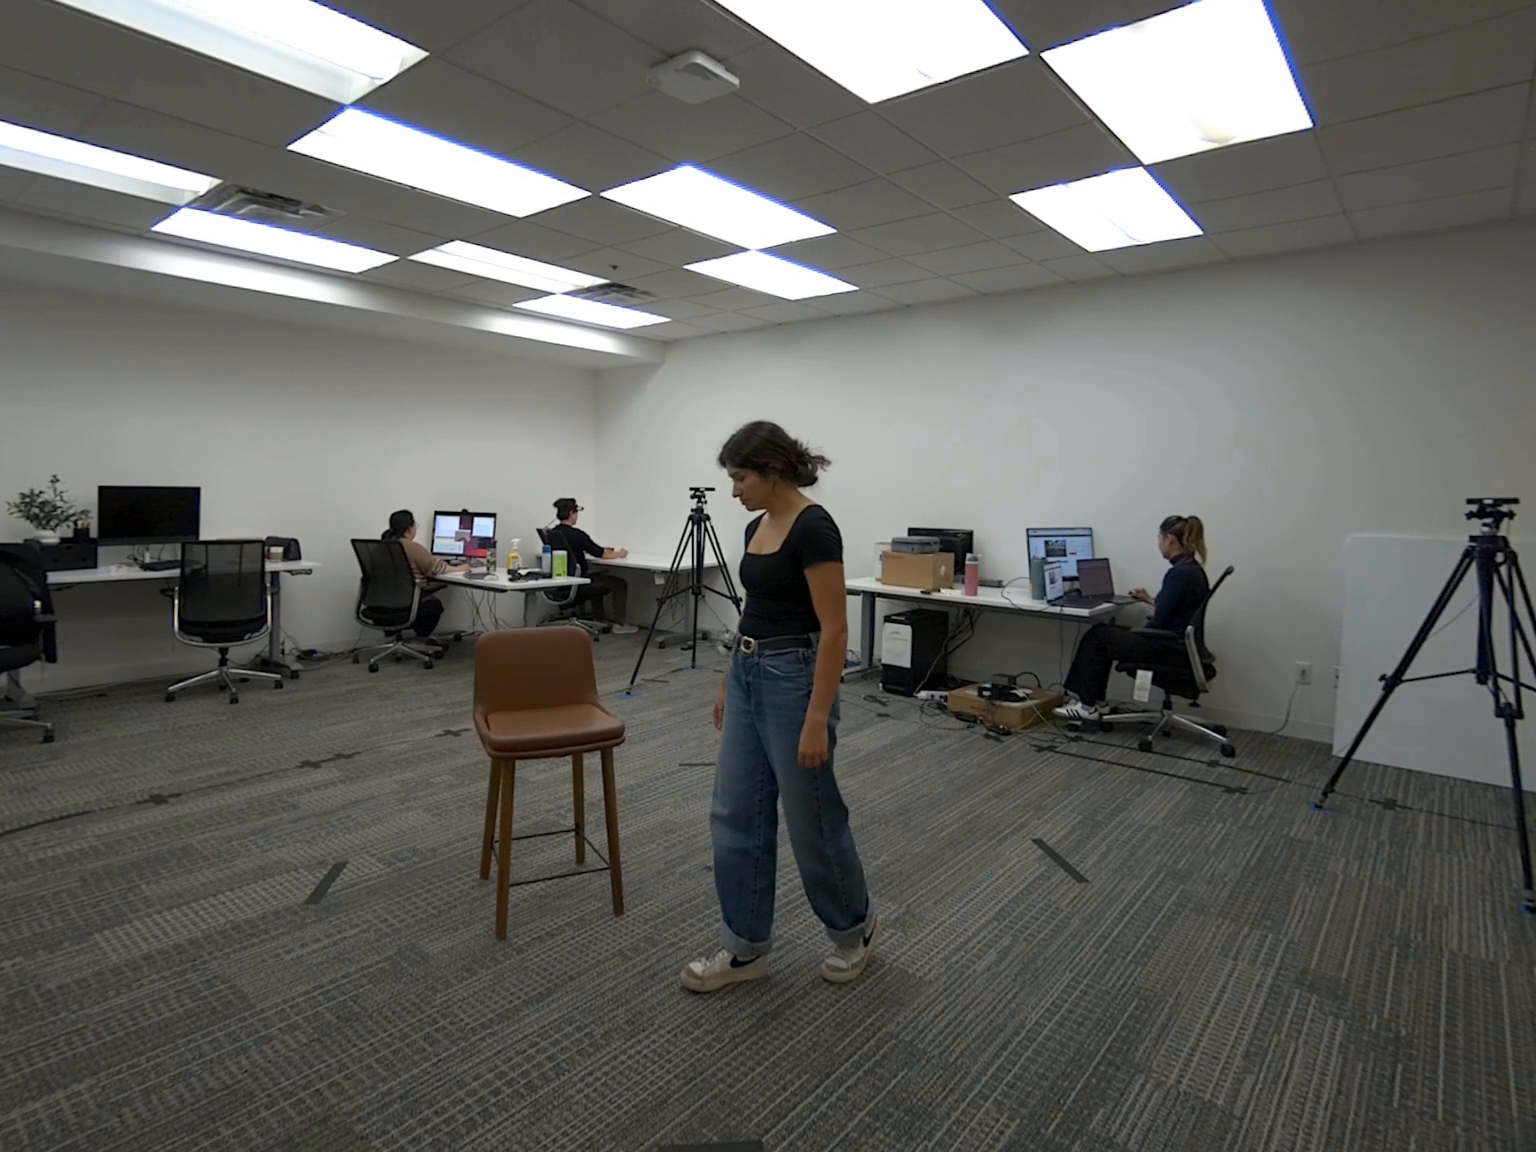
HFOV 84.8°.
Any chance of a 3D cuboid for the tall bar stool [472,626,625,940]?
[{"bbox_3d":[-0.759,0.647,2.866,0.445,0.888,0.480,-1,2,-27],"label":"tall bar stool"}]
